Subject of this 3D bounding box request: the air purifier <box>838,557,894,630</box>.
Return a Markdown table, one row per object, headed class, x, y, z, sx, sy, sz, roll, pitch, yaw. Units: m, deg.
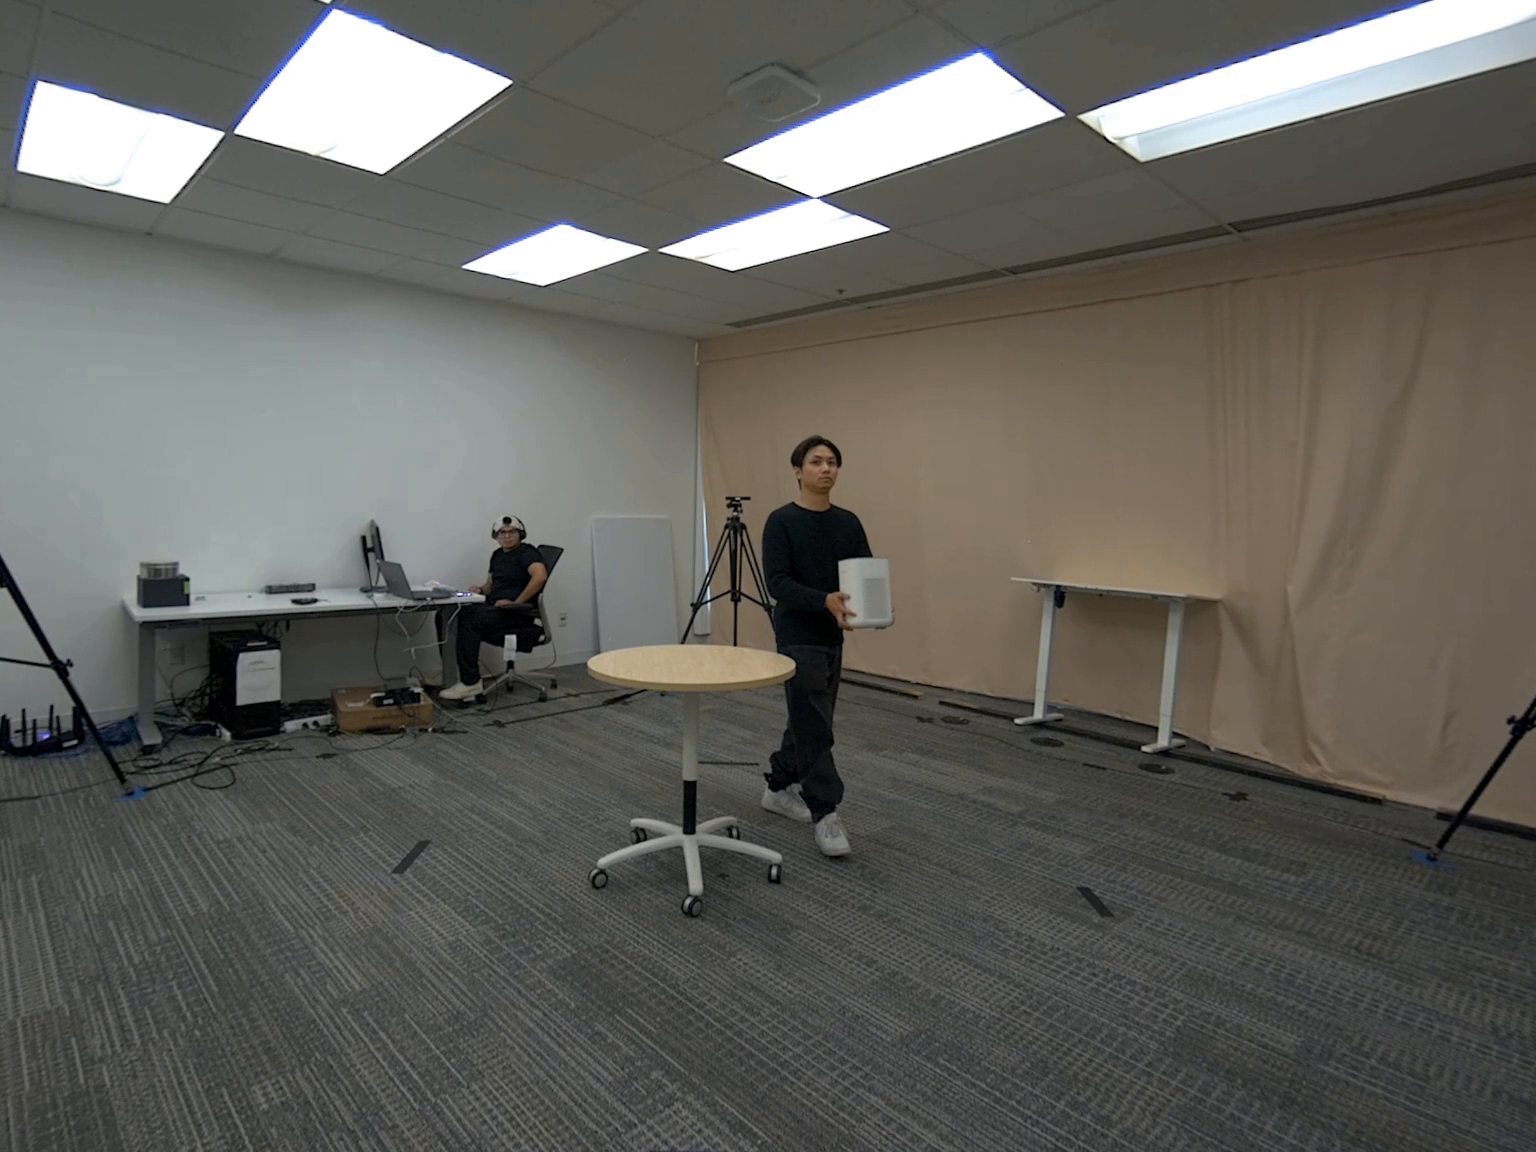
| class | x | y | z | sx | sy | sz | roll | pitch | yaw |
| --- | --- | --- | --- | --- | --- | --- | --- | --- | --- |
| air purifier | 0.364 | 0.065 | 3.237 | 0.169 | 0.266 | 0.173 | 0 | -6 | -20 |
